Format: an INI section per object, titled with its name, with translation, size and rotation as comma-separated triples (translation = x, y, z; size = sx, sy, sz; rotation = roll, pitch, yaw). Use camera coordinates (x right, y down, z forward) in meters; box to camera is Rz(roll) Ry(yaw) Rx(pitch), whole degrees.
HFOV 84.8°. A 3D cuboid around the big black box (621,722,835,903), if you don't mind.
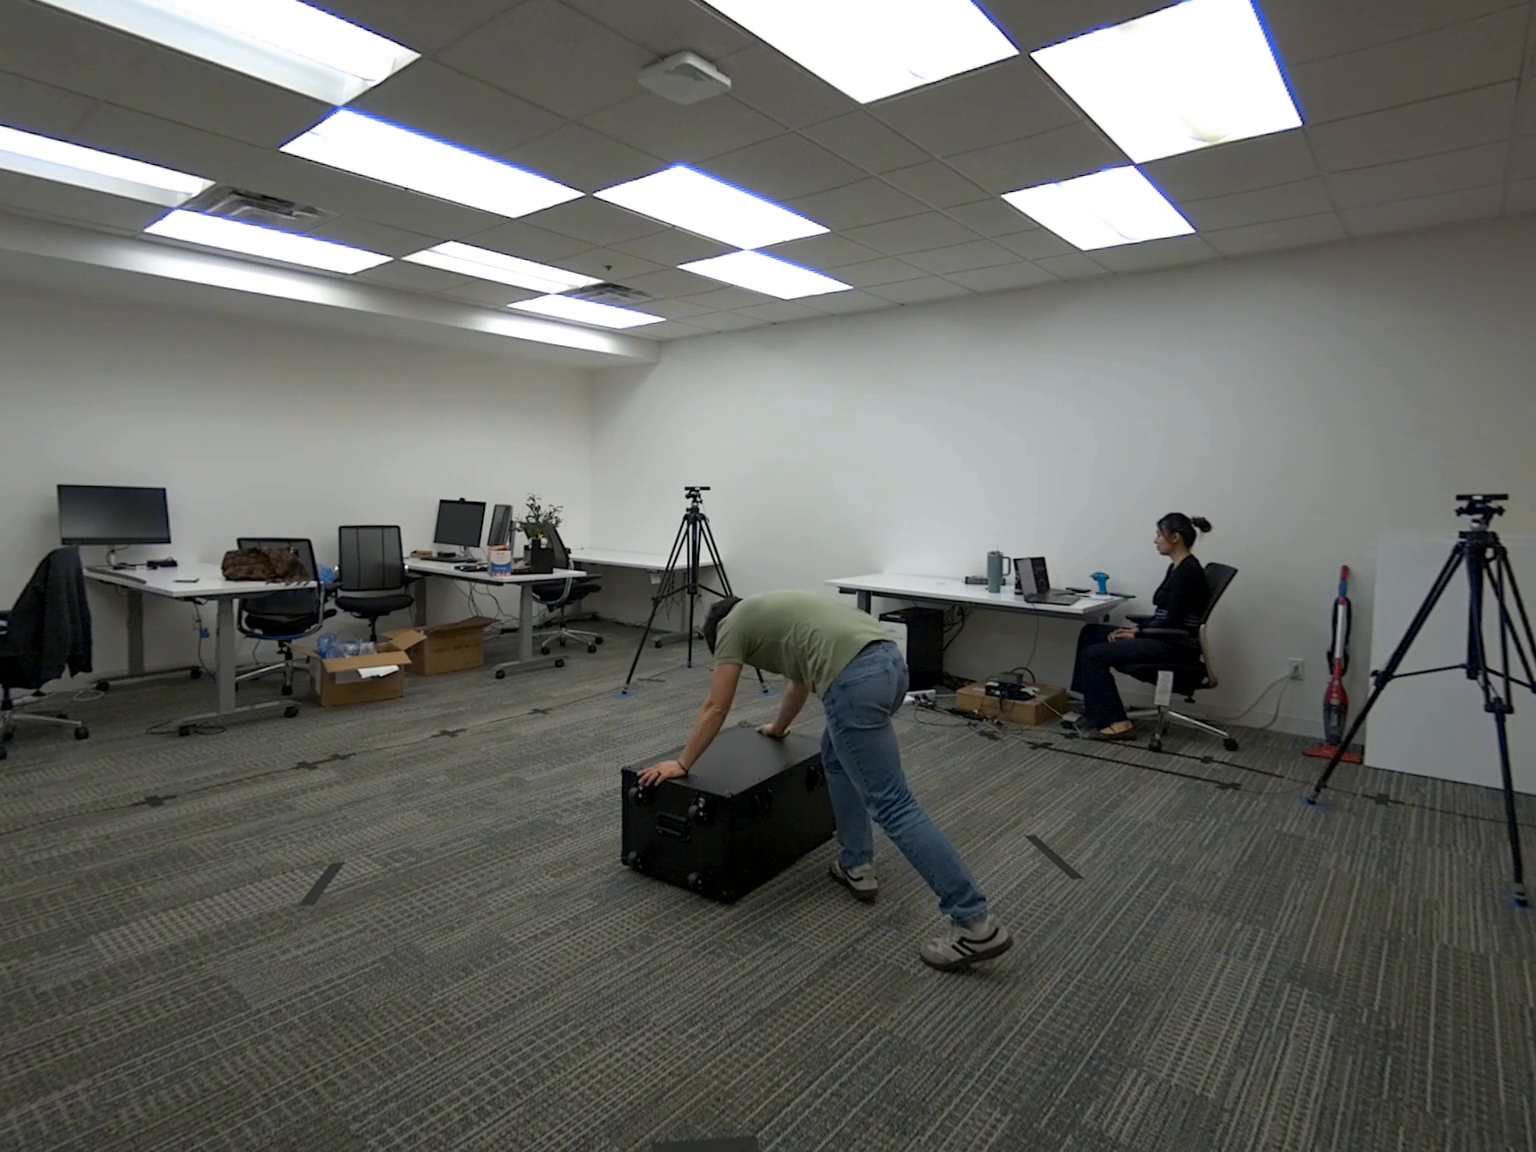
[big black box]
translation = -0.150, 0.865, 3.221
size = 0.538, 0.395, 0.837
rotation = 4, 5, 33
